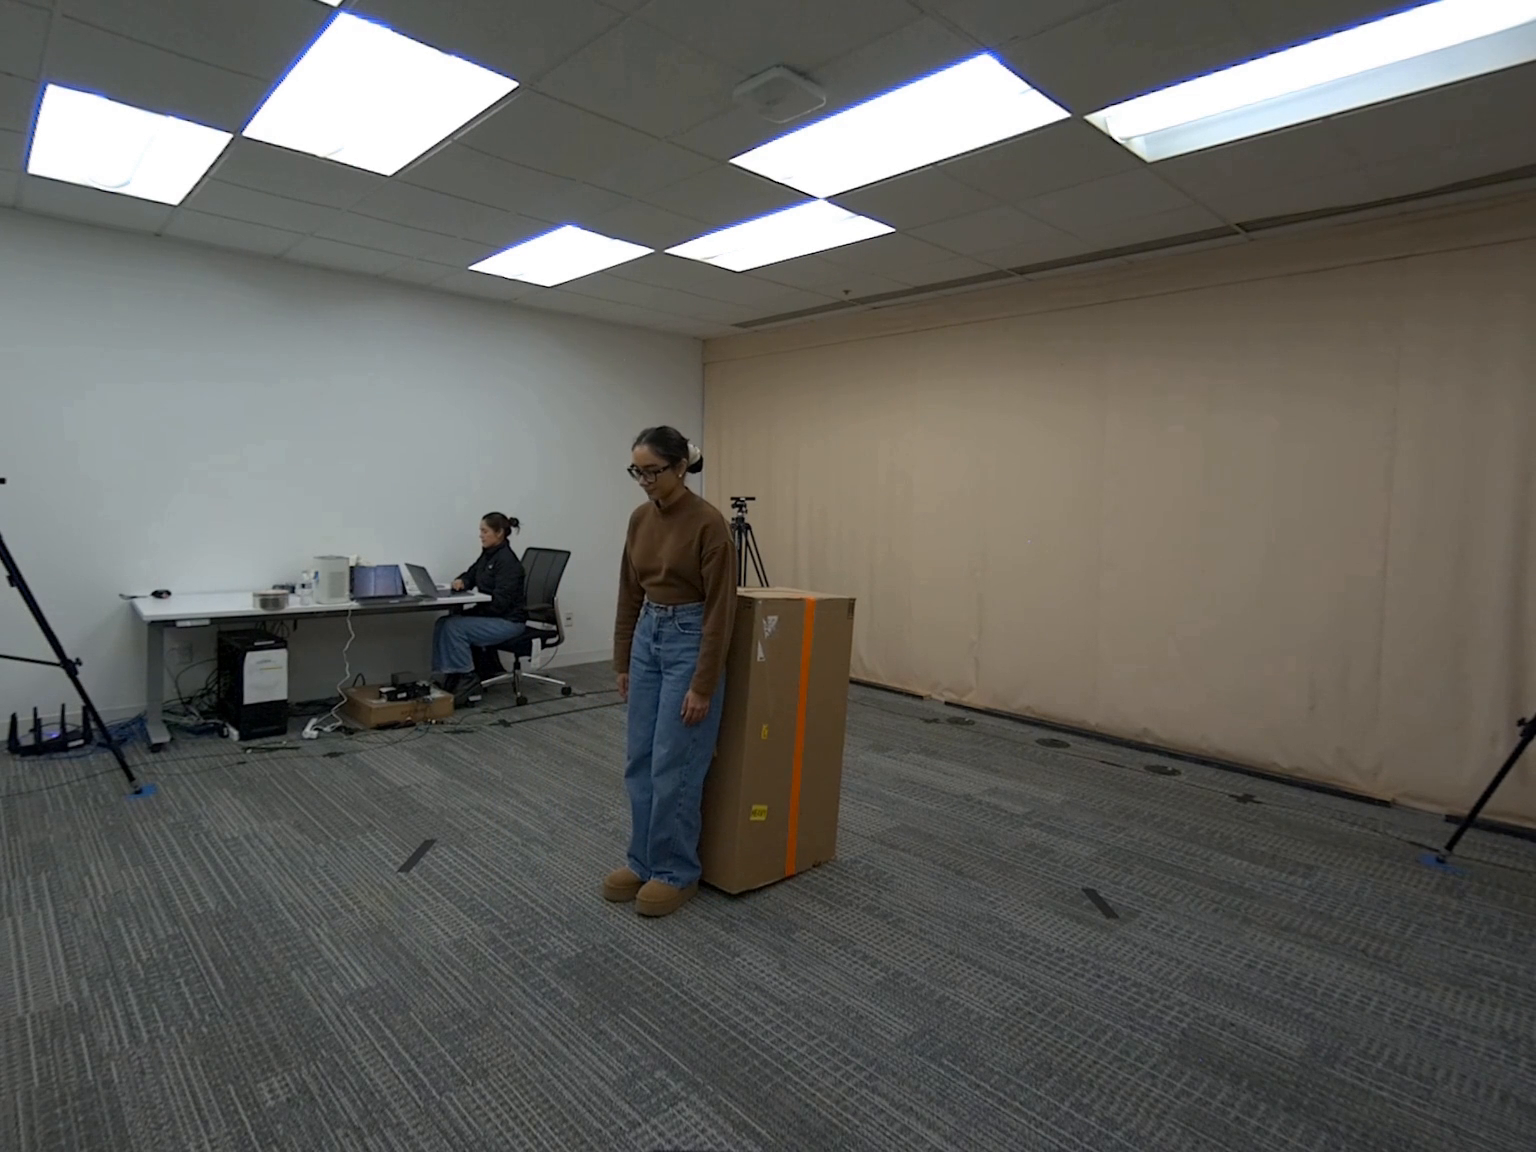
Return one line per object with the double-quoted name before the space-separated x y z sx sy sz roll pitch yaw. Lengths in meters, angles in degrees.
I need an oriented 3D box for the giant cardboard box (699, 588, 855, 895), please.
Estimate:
"giant cardboard box" -0.041 0.575 3.227 0.458 1.026 0.569 5 1 42
